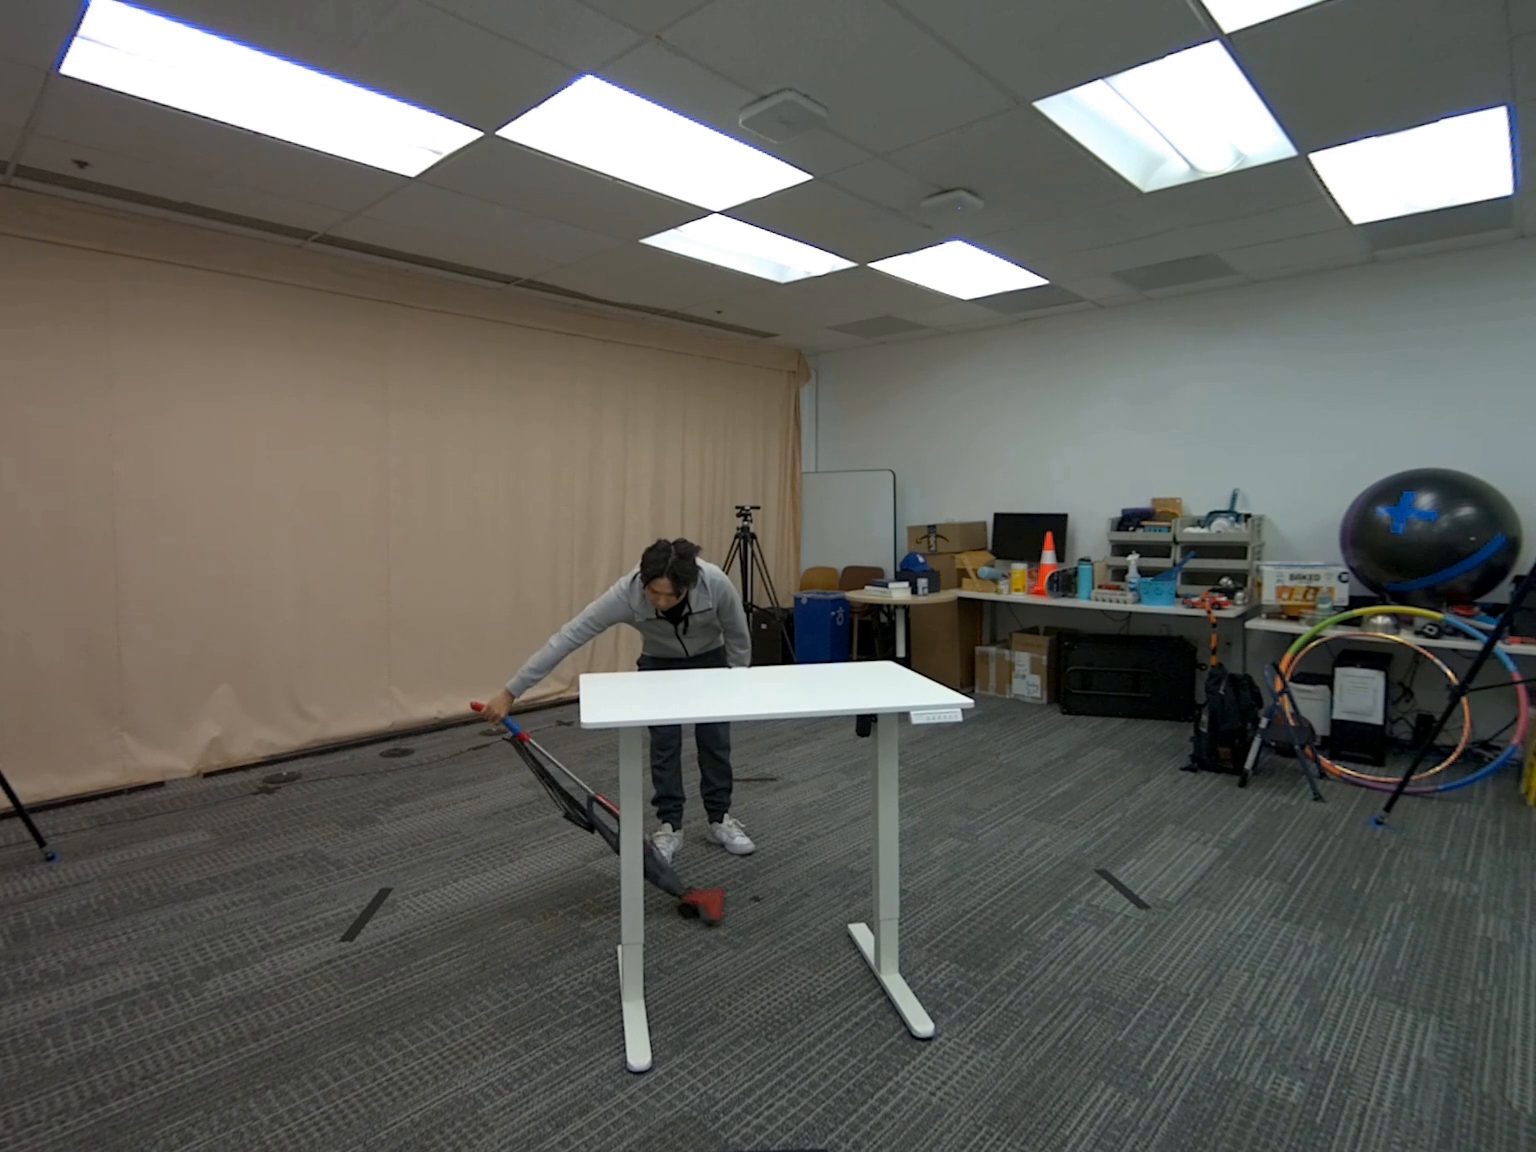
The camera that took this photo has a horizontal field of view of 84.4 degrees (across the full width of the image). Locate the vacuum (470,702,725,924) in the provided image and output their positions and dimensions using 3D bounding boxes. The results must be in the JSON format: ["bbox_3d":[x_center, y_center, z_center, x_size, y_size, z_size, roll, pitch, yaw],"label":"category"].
[{"bbox_3d":[-0.634,0.793,2.954,1.056,0.144,0.250,41,6,5],"label":"vacuum"}]
